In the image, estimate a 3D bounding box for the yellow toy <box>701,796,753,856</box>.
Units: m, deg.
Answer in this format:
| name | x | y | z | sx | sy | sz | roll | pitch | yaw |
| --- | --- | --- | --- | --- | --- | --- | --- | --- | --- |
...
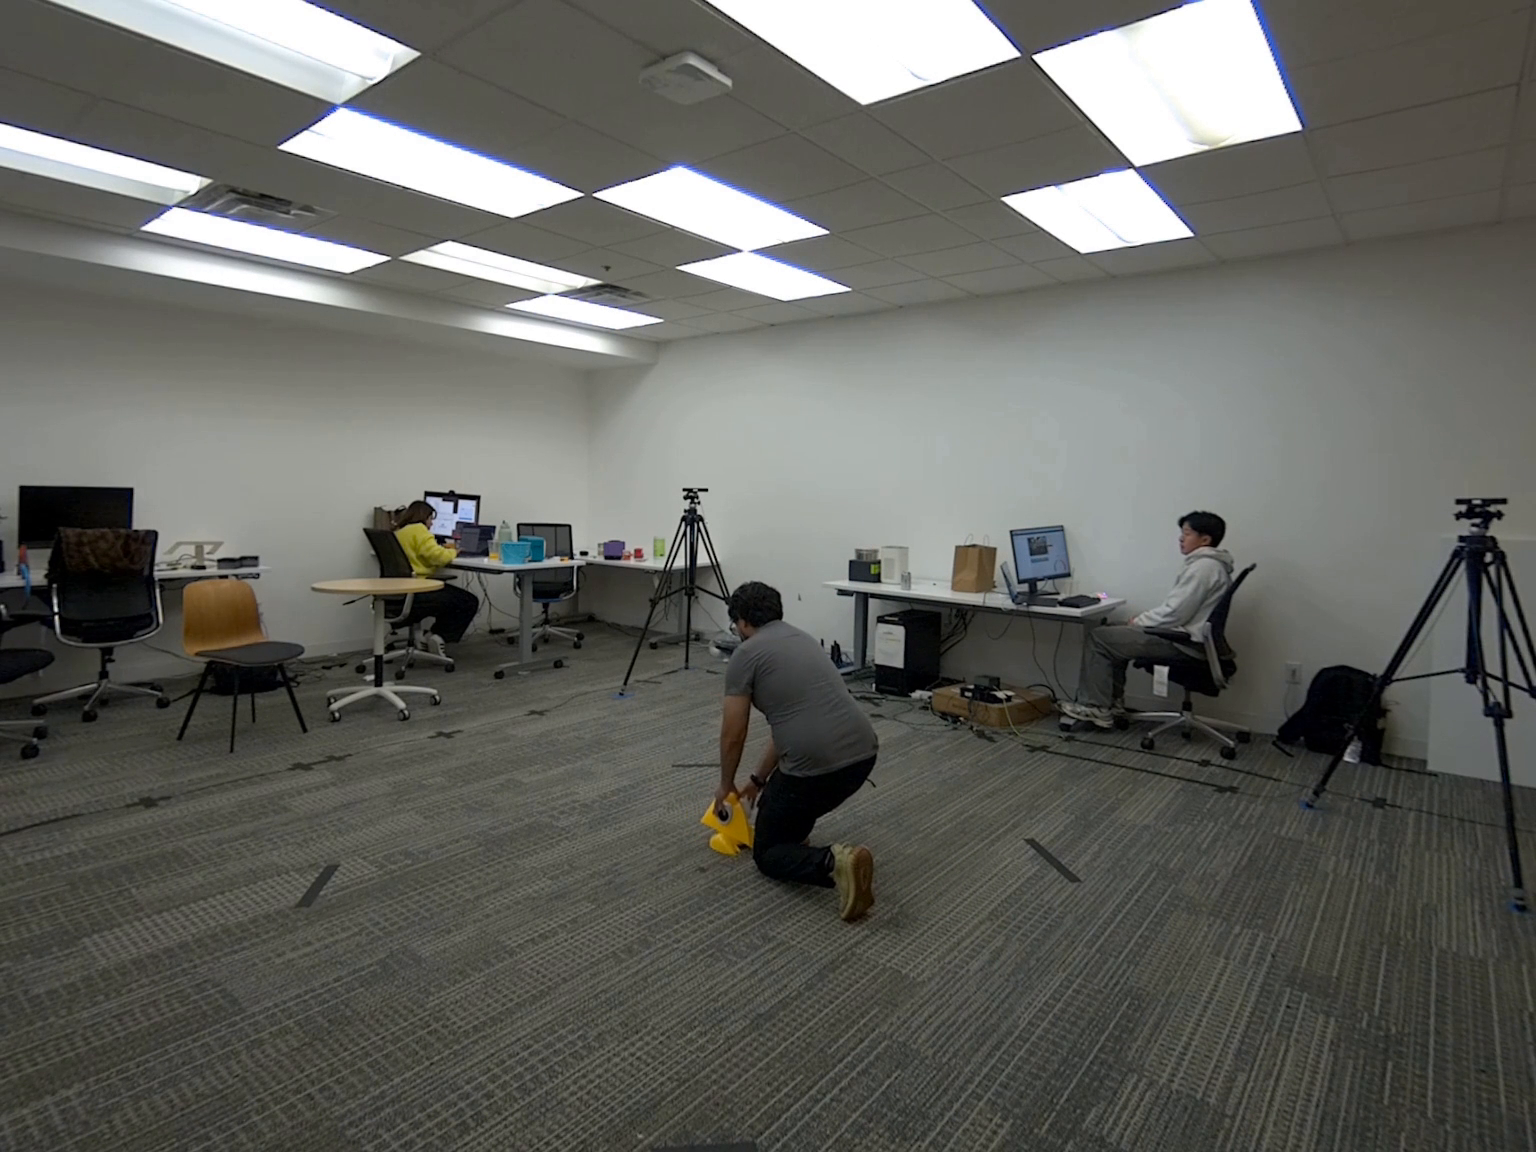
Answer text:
| name | x | y | z | sx | sy | sz | roll | pitch | yaw |
| --- | --- | --- | --- | --- | --- | --- | --- | --- | --- |
| yellow toy | -0.142 | 0.937 | 3.341 | 0.198 | 0.230 | 0.199 | 0 | 3 | -37 |
